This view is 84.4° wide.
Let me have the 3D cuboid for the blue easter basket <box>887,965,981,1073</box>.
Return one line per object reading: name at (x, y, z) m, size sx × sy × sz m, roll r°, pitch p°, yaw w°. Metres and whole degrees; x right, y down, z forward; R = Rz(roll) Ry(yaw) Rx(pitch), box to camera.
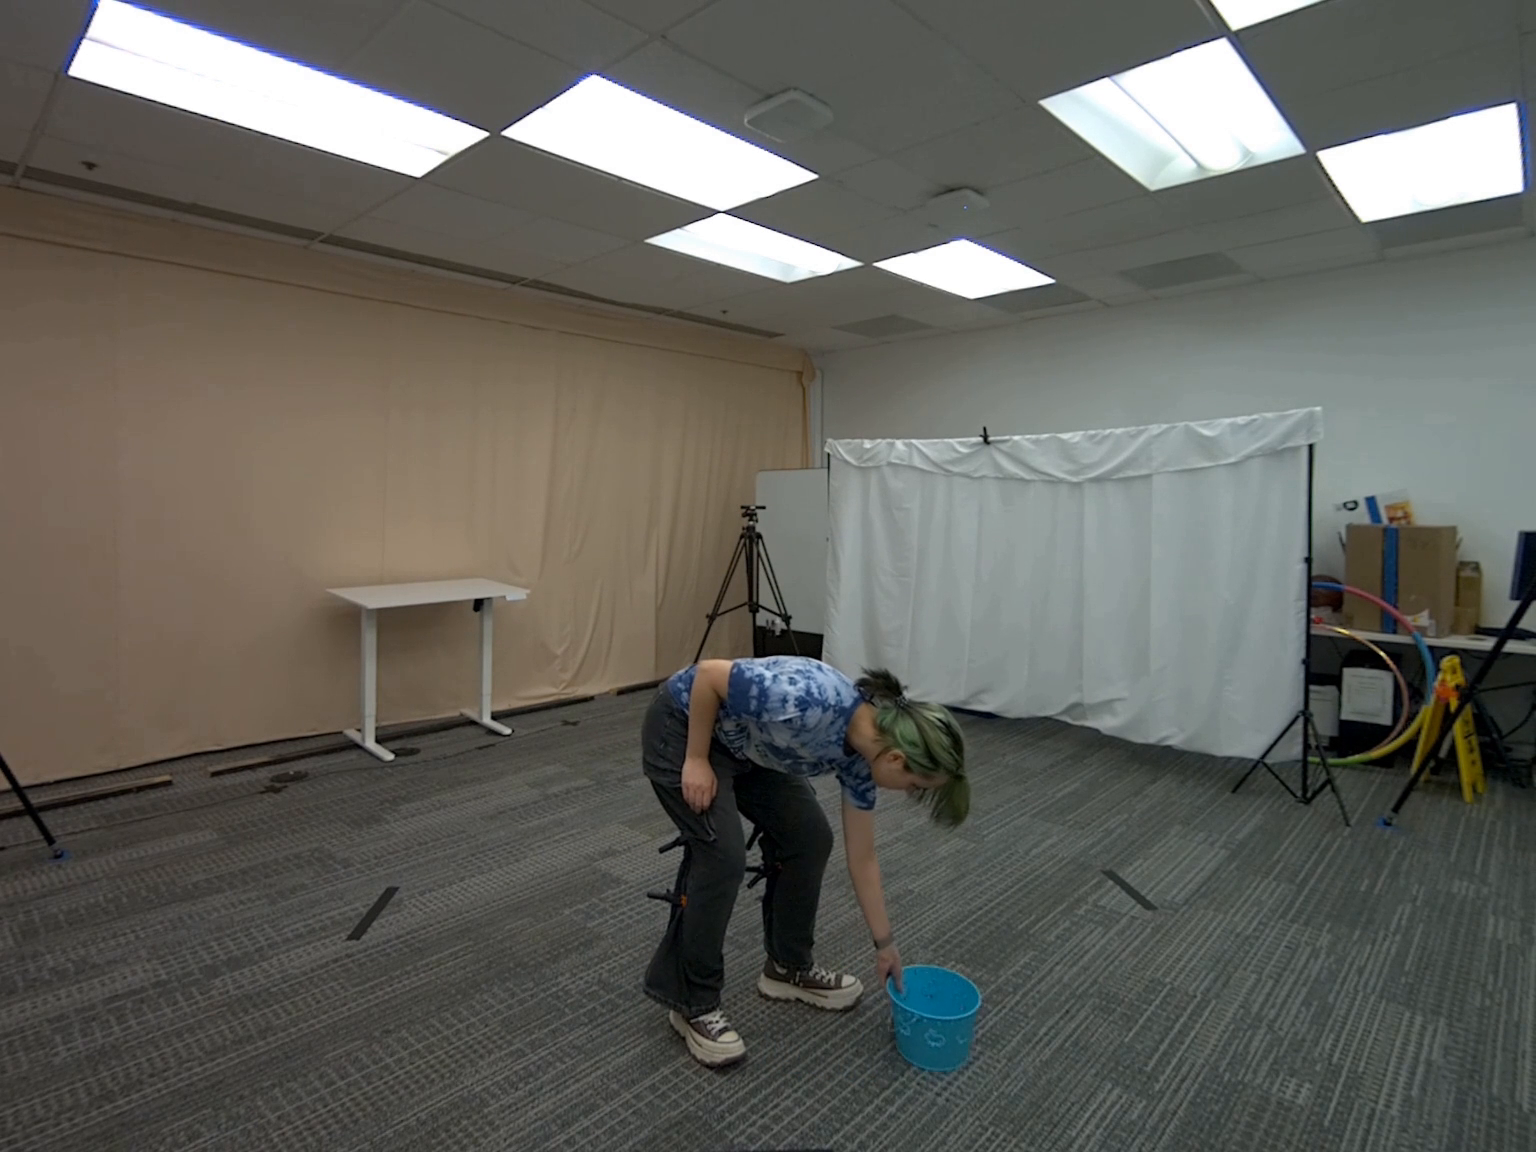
blue easter basket at (0.427, 1.135, 2.160) m, size 0.243 × 0.155 × 0.244 m, roll 0°, pitch 5°, yaw -2°
